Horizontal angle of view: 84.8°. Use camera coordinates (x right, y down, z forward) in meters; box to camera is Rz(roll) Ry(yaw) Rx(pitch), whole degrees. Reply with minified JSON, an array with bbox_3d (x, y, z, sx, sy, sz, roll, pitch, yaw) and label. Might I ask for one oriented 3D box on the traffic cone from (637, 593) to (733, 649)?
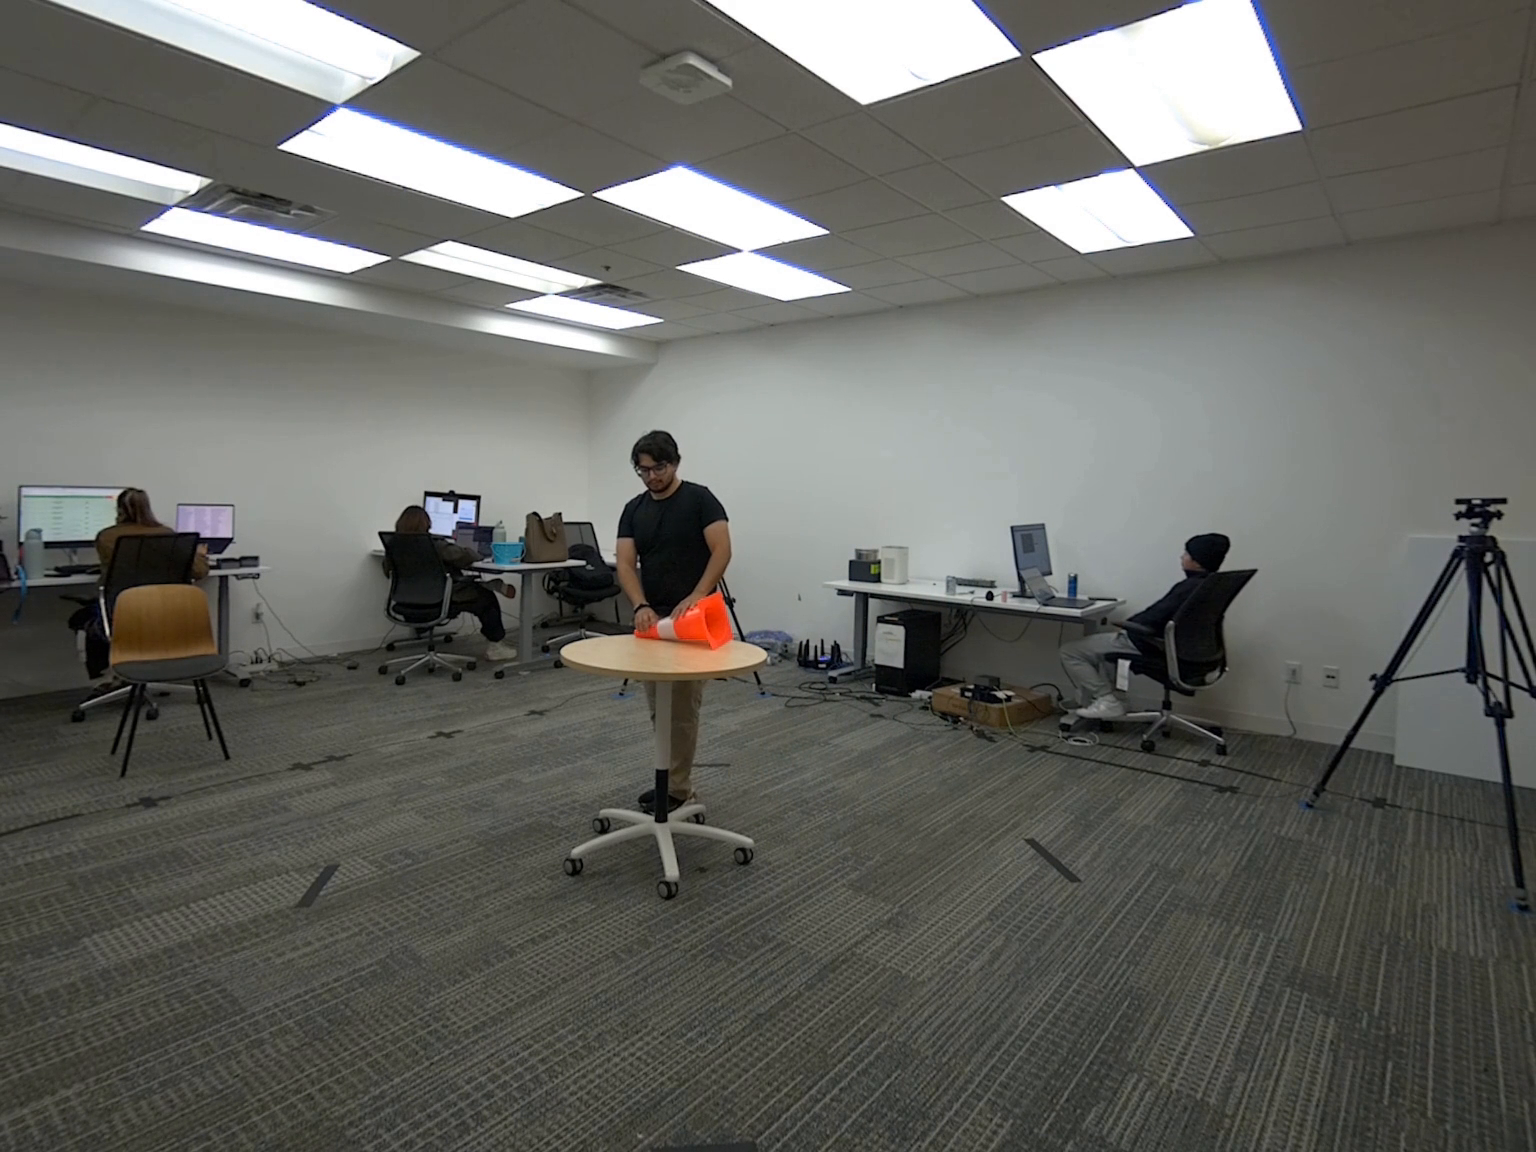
[{"bbox_3d":[-0.380,0.208,3.377,0.391,0.202,0.202,-14,5,26],"label":"traffic cone"}]
